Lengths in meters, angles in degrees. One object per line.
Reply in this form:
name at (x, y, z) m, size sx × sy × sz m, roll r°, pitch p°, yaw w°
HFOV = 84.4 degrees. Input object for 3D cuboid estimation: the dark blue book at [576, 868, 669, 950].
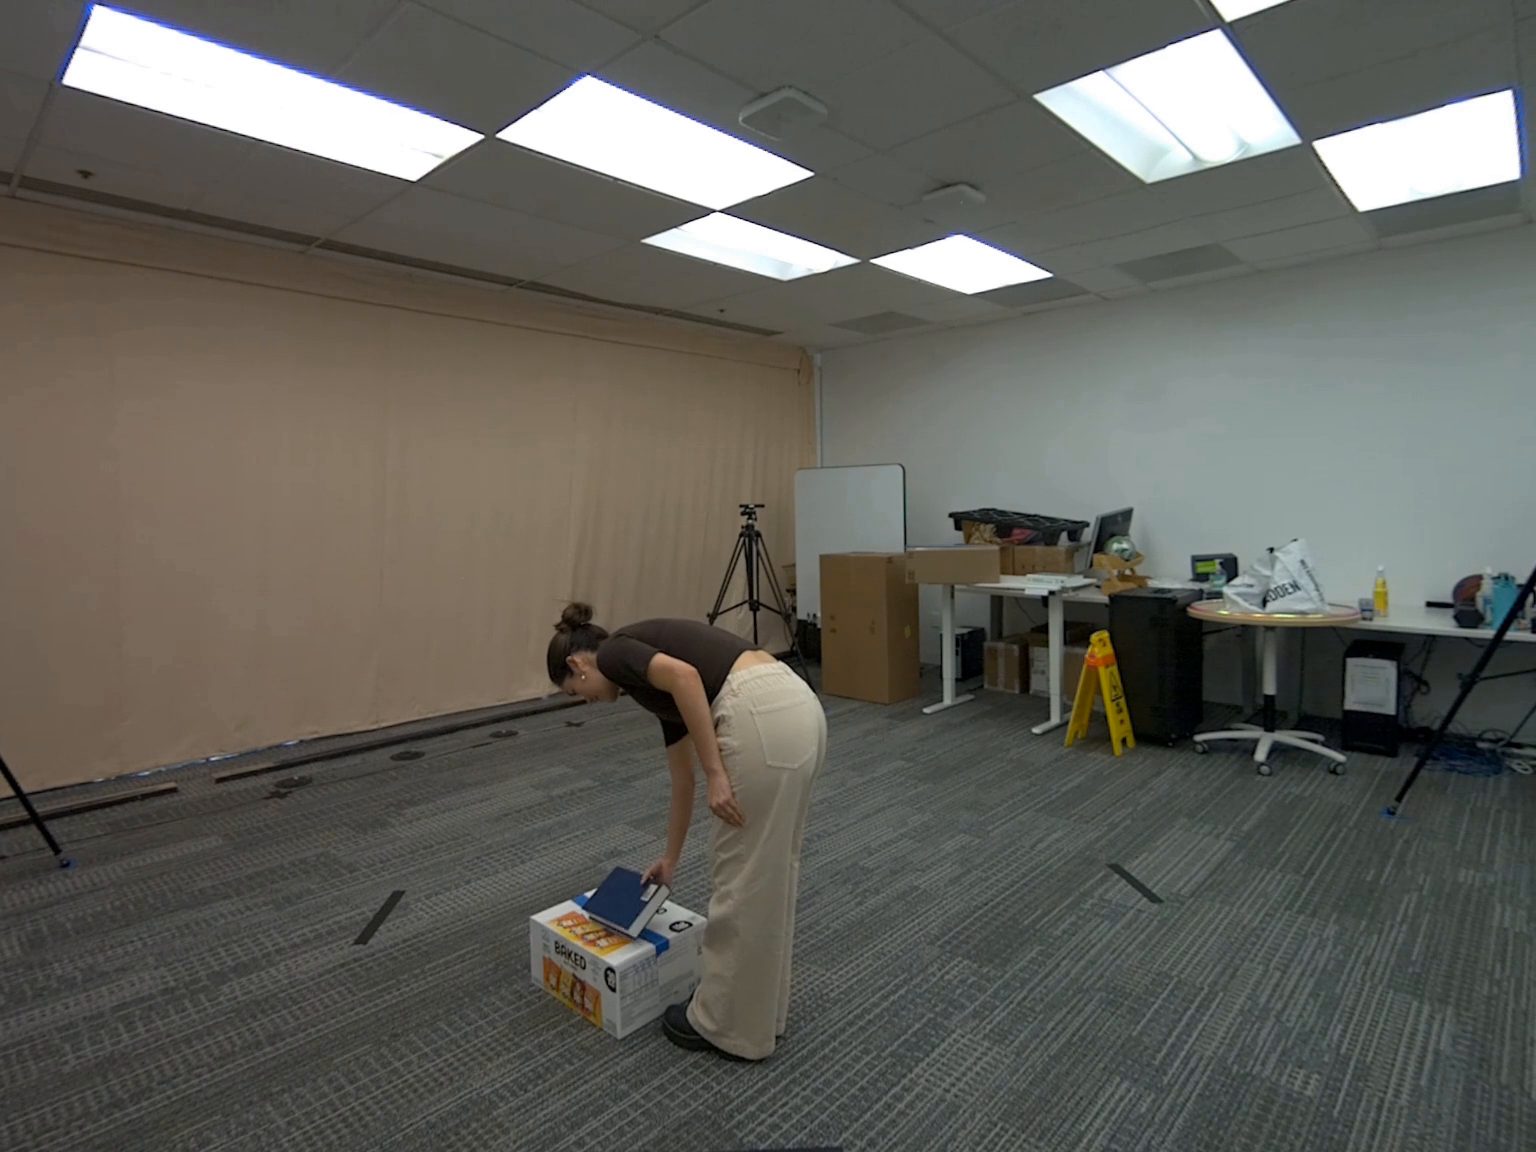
dark blue book at (-0.417, 0.937, 2.405) m, size 0.252 × 0.044 × 0.162 m, roll -3°, pitch 33°, yaw 52°
